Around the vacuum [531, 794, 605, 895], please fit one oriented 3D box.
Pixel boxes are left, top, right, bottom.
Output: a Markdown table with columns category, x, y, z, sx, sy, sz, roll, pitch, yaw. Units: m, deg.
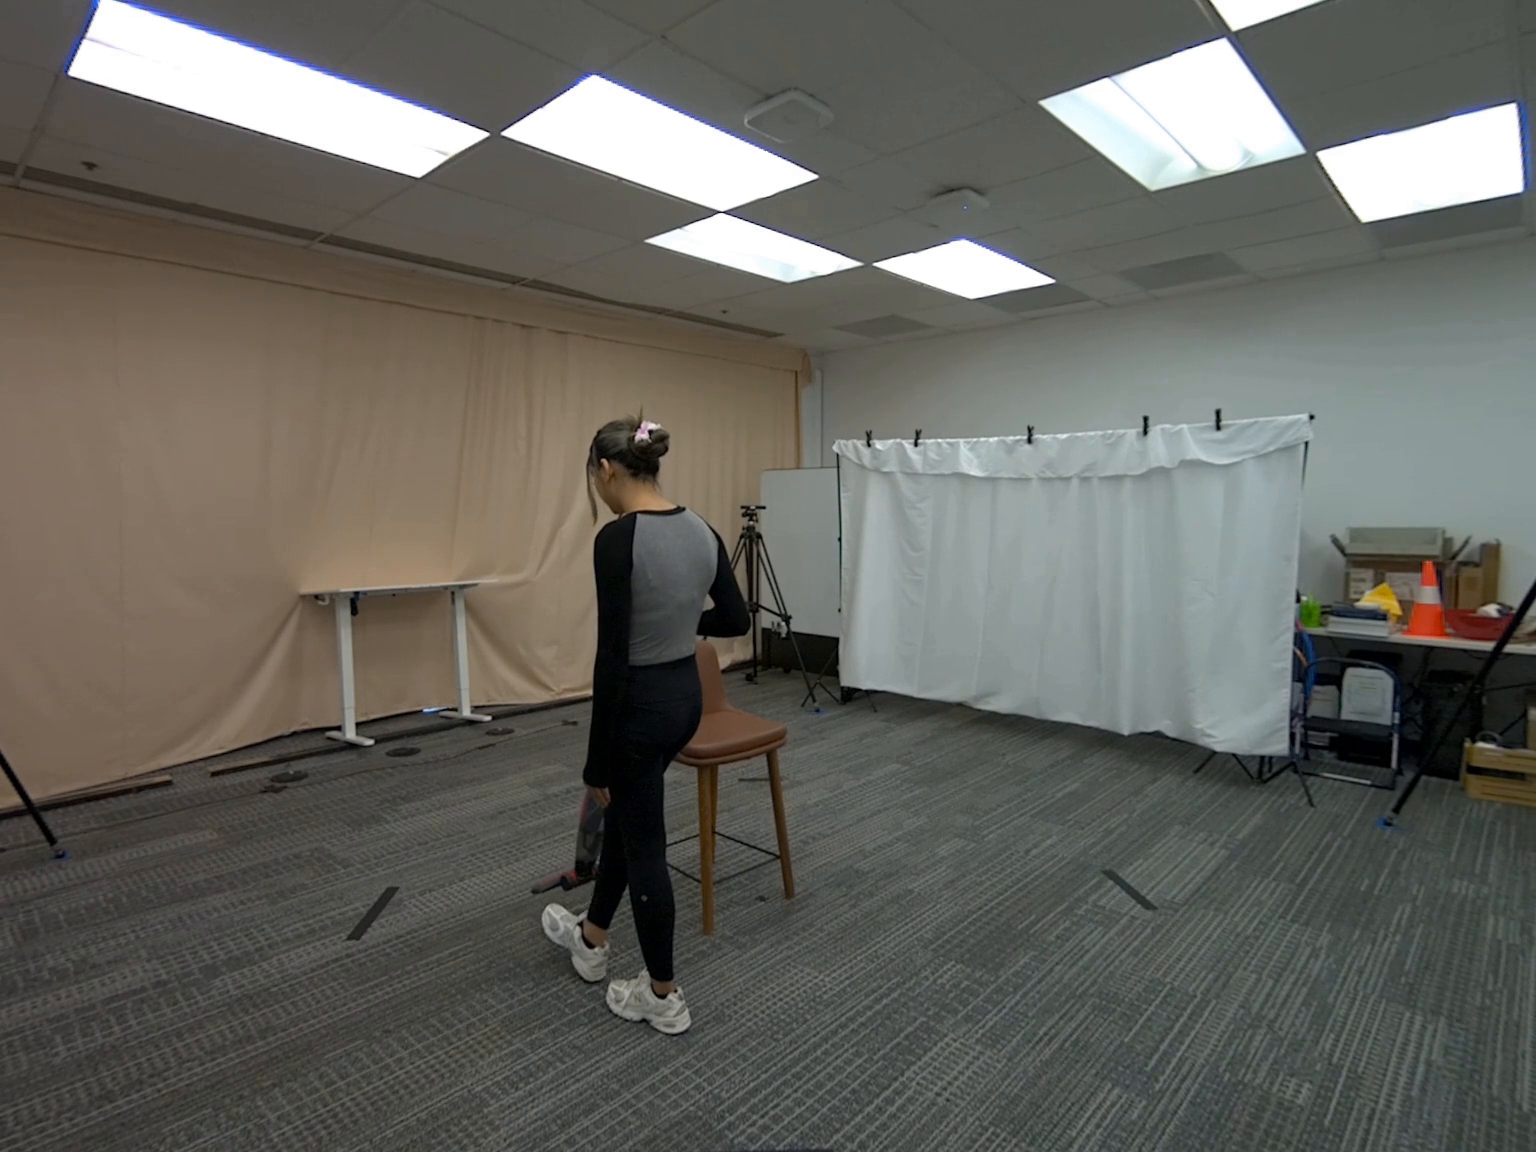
| category | x | y | z | sx | sy | sz | roll | pitch | yaw |
| --- | --- | --- | --- | --- | --- | --- | --- | --- | --- |
| vacuum | -0.492 | 0.589 | 2.615 | 0.245 | 1.045 | 0.149 | -3 | 32 | -48 |
